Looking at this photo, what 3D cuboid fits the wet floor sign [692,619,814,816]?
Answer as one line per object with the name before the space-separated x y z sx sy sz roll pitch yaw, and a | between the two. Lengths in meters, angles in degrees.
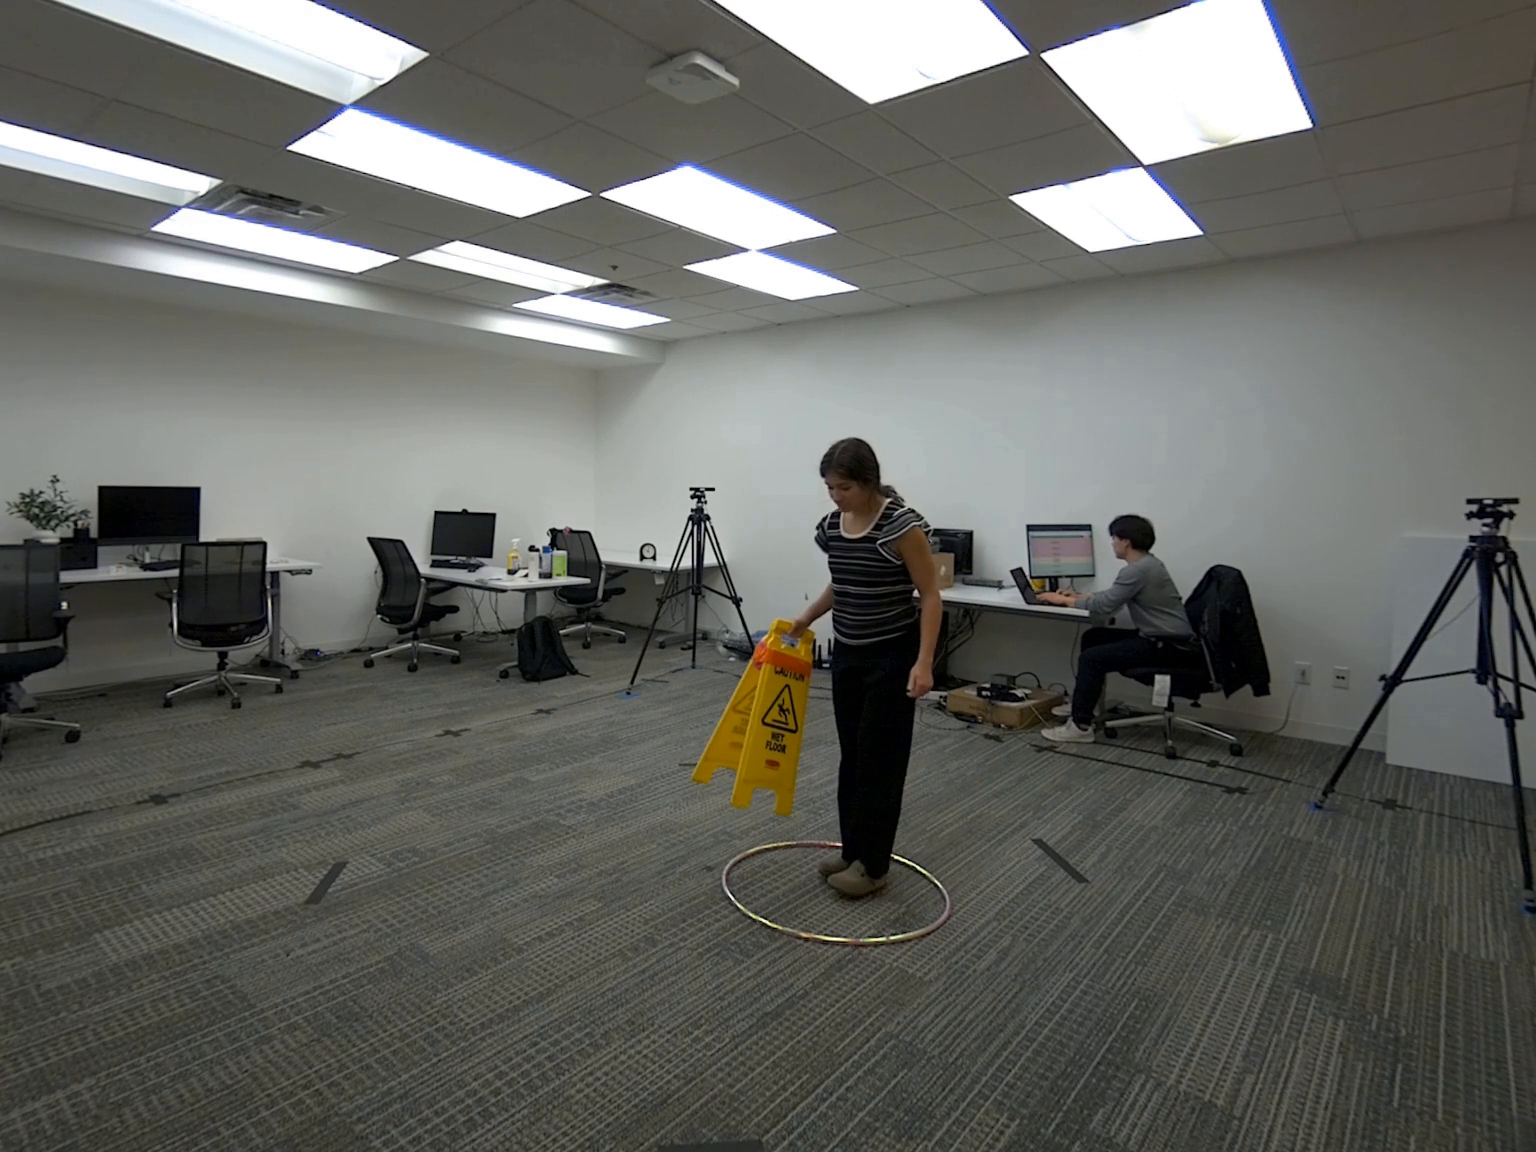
wet floor sign | -0.001 0.483 3.066 0.272 0.648 0.300 21 -6 -36
